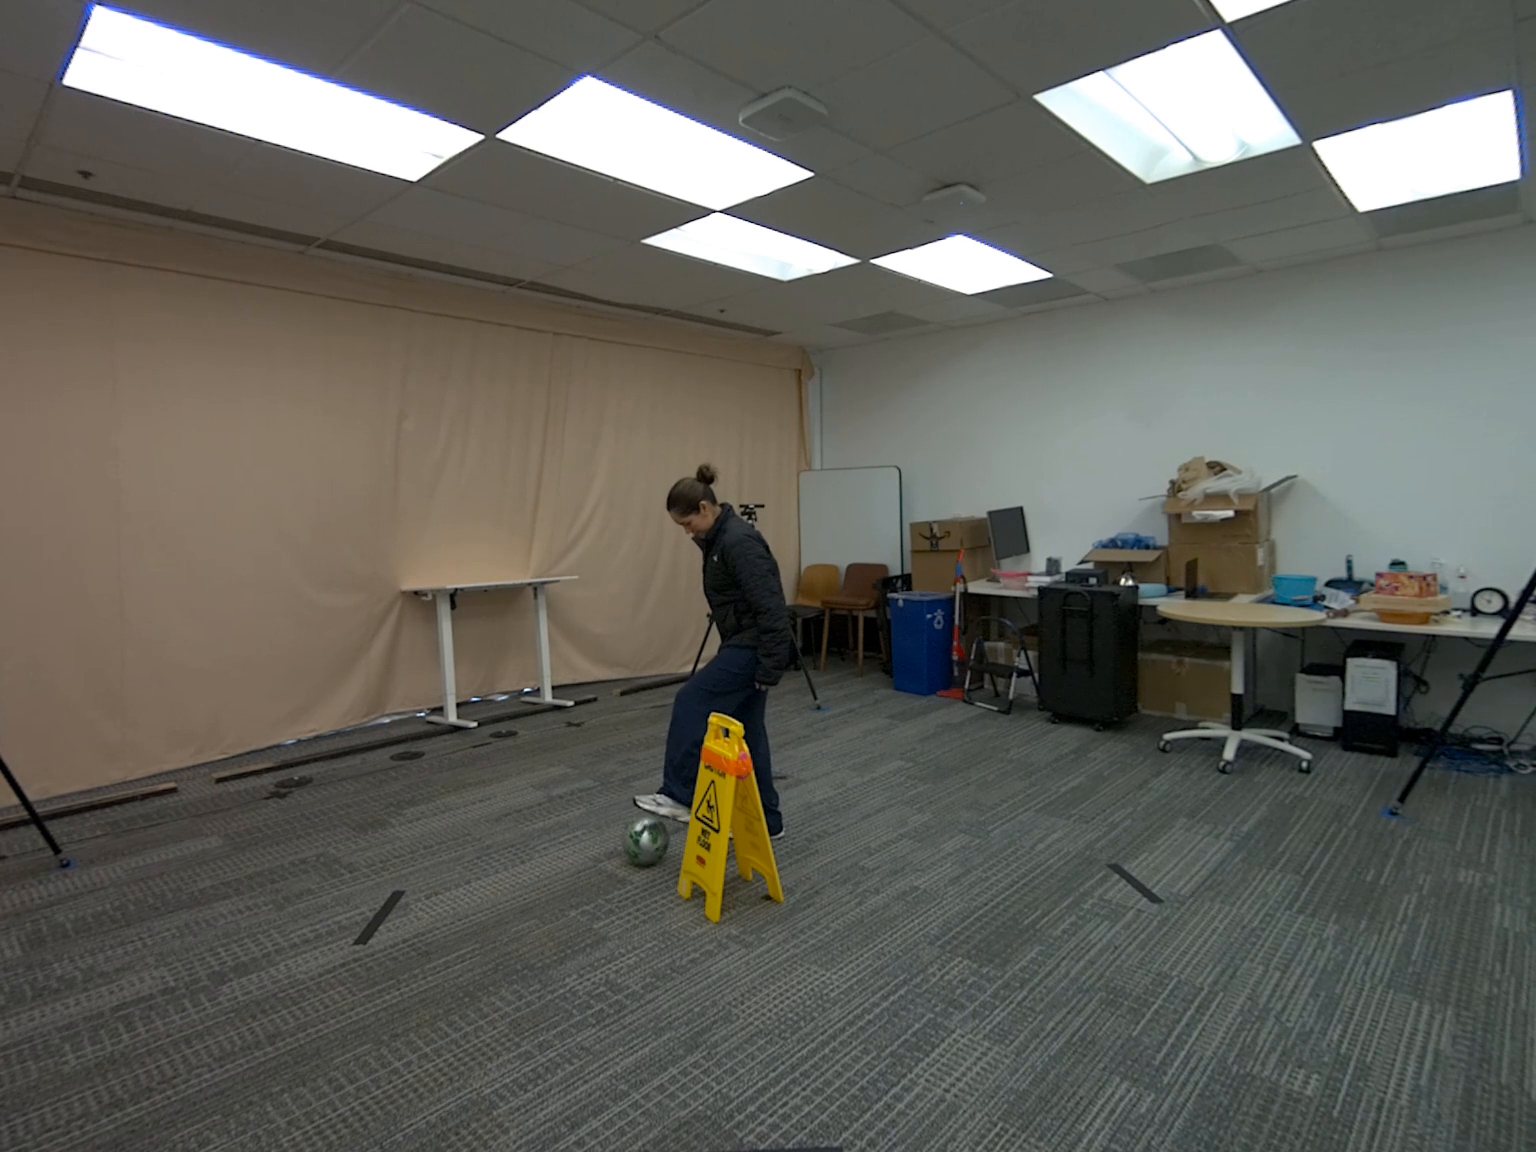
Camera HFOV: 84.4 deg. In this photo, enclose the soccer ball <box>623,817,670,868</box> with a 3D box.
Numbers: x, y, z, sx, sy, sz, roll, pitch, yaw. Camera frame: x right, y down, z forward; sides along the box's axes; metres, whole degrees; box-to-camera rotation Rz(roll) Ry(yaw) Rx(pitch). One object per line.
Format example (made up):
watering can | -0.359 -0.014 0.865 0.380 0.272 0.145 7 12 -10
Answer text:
soccer ball | -0.480 1.030 3.289 0.187 0.187 0.188 -1 4 -2
